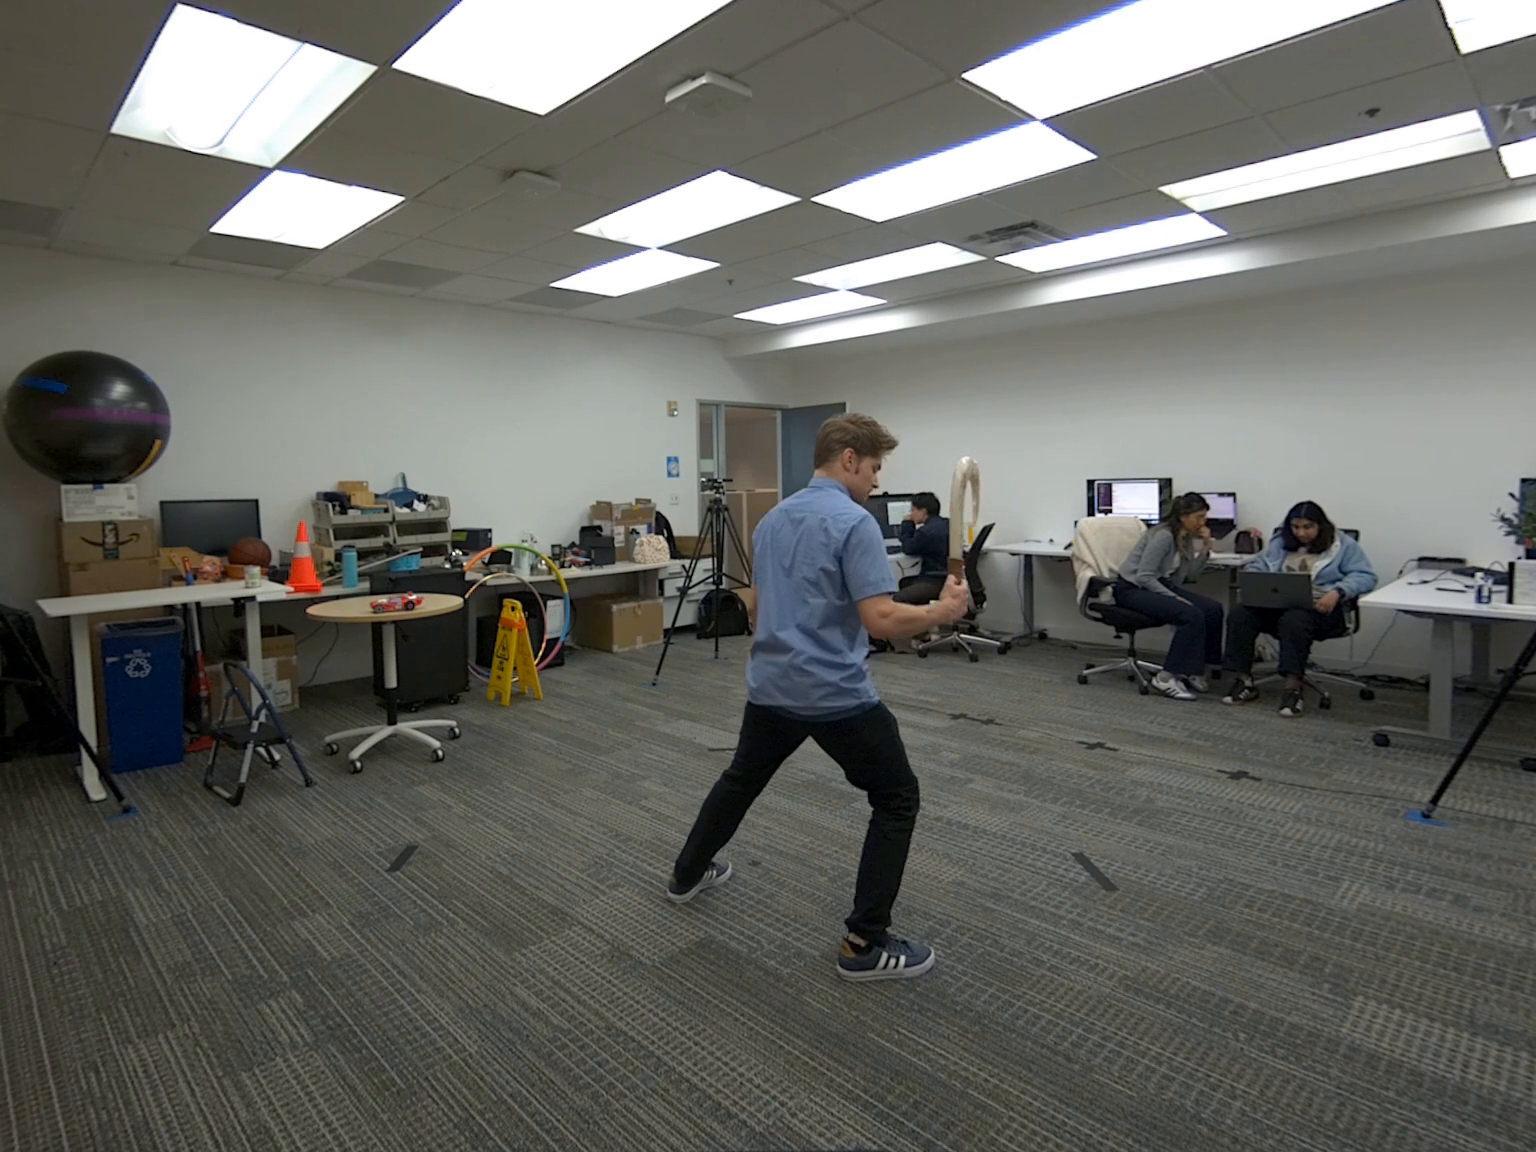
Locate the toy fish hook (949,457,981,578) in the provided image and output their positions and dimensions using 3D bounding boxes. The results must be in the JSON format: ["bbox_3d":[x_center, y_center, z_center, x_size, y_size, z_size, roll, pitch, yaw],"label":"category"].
[{"bbox_3d":[0.581,-0.098,2.565,0.050,0.508,0.217,4,-6,36],"label":"toy fish hook"}]
